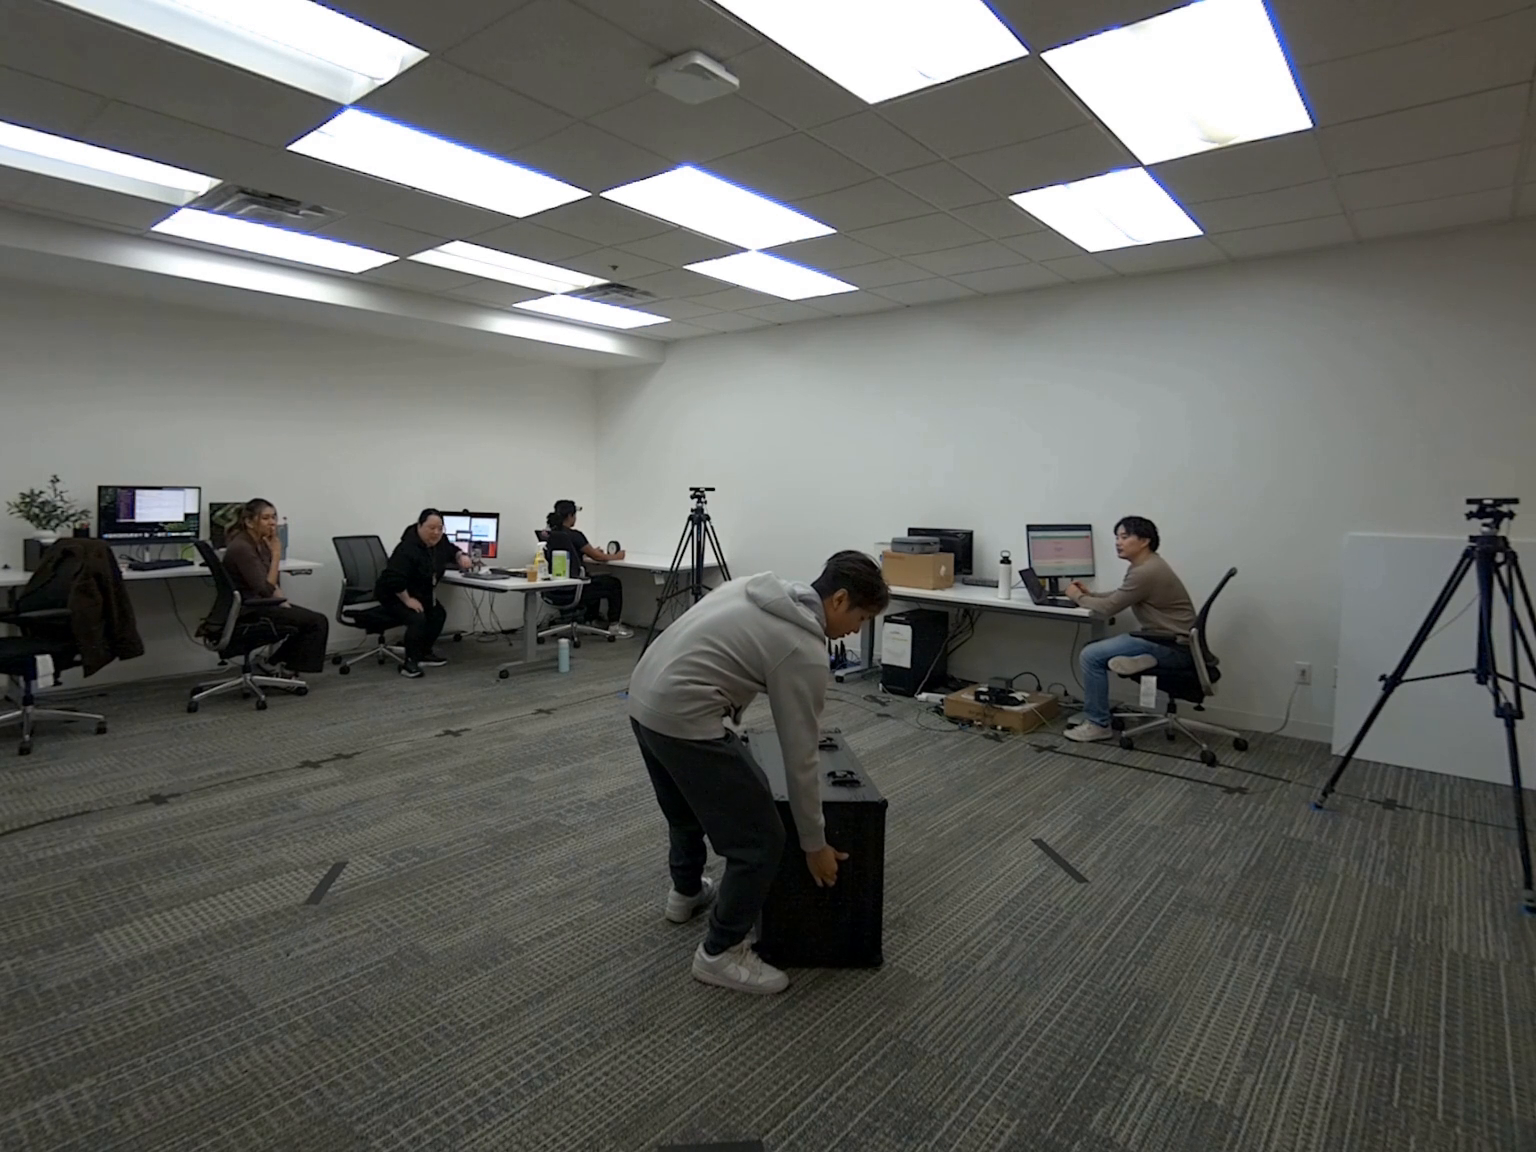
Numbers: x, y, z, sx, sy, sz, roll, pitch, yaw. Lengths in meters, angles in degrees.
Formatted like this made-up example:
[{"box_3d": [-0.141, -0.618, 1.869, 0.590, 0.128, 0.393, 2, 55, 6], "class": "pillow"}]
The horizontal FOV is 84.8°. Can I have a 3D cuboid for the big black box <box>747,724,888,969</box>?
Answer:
[{"box_3d": [0.111, 0.847, 2.877, 0.395, 0.520, 0.868, 2, 4, -5], "class": "big black box"}]
